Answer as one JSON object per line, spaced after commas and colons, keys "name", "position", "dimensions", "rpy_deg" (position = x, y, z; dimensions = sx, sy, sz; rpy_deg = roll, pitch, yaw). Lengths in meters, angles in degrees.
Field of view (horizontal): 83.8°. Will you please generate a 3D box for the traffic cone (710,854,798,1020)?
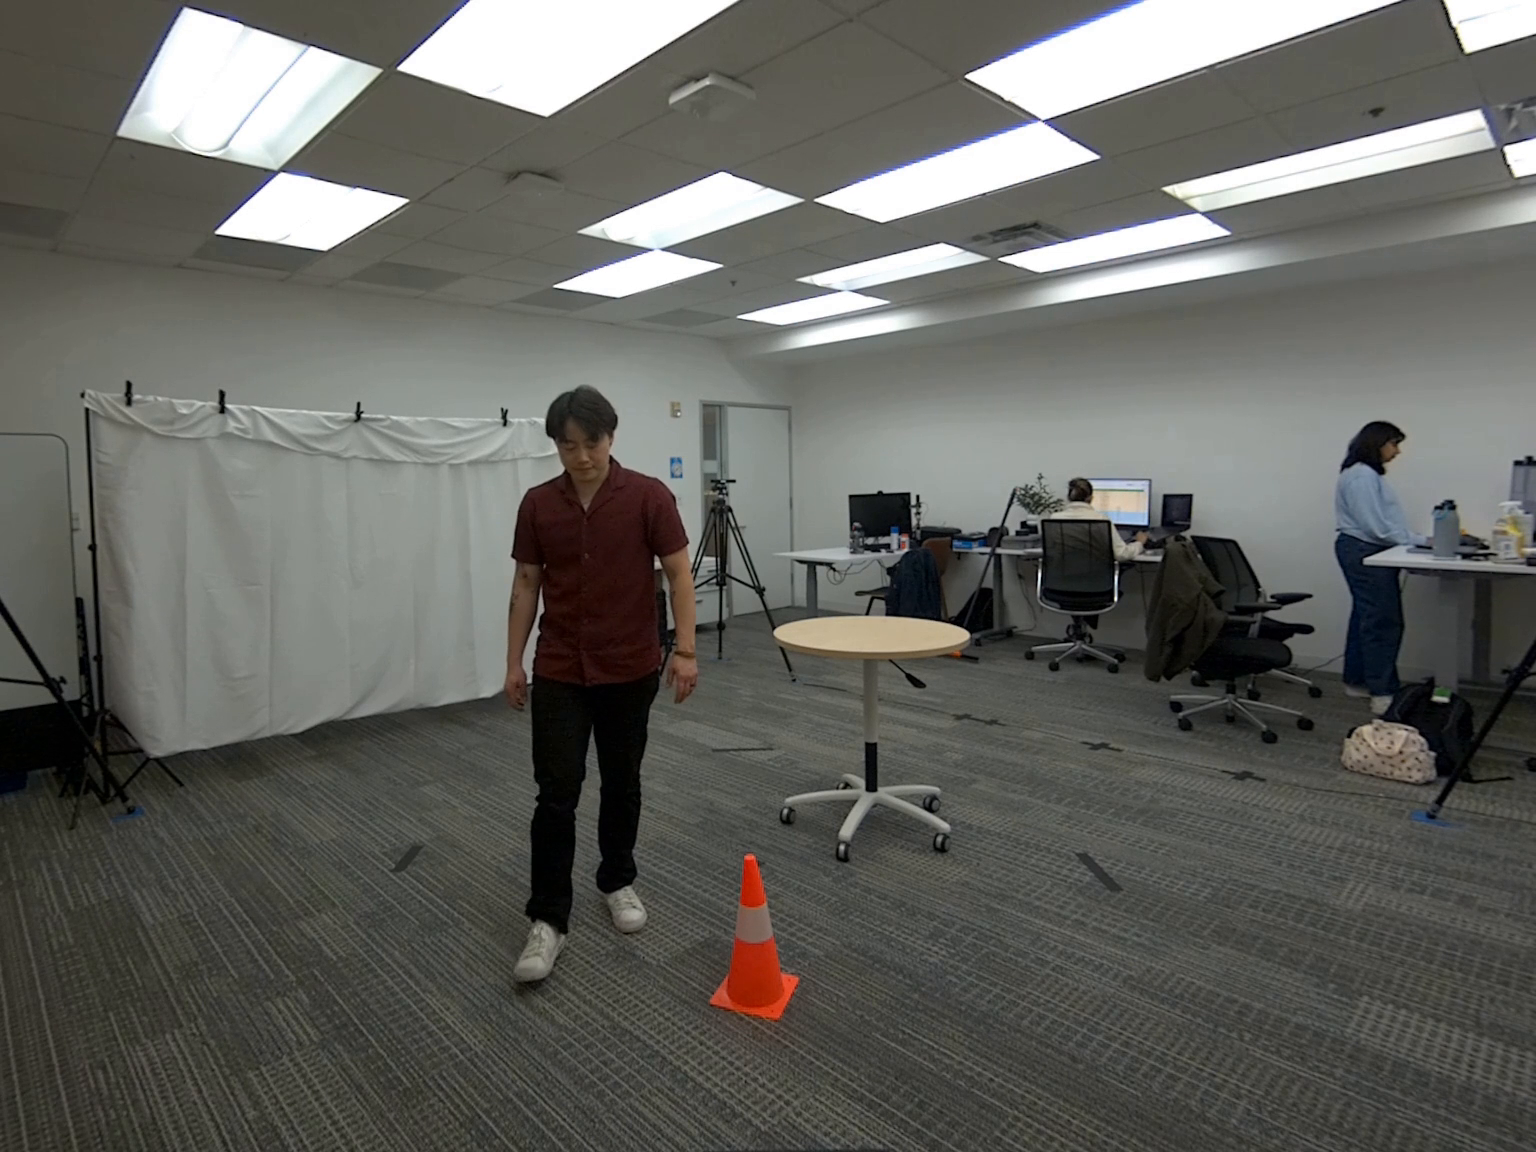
{"name": "traffic cone", "position": [-0.037, 0.951, 2.319], "dimensions": [0.209, 0.382, 0.200], "rpy_deg": [1, 6, 22]}
